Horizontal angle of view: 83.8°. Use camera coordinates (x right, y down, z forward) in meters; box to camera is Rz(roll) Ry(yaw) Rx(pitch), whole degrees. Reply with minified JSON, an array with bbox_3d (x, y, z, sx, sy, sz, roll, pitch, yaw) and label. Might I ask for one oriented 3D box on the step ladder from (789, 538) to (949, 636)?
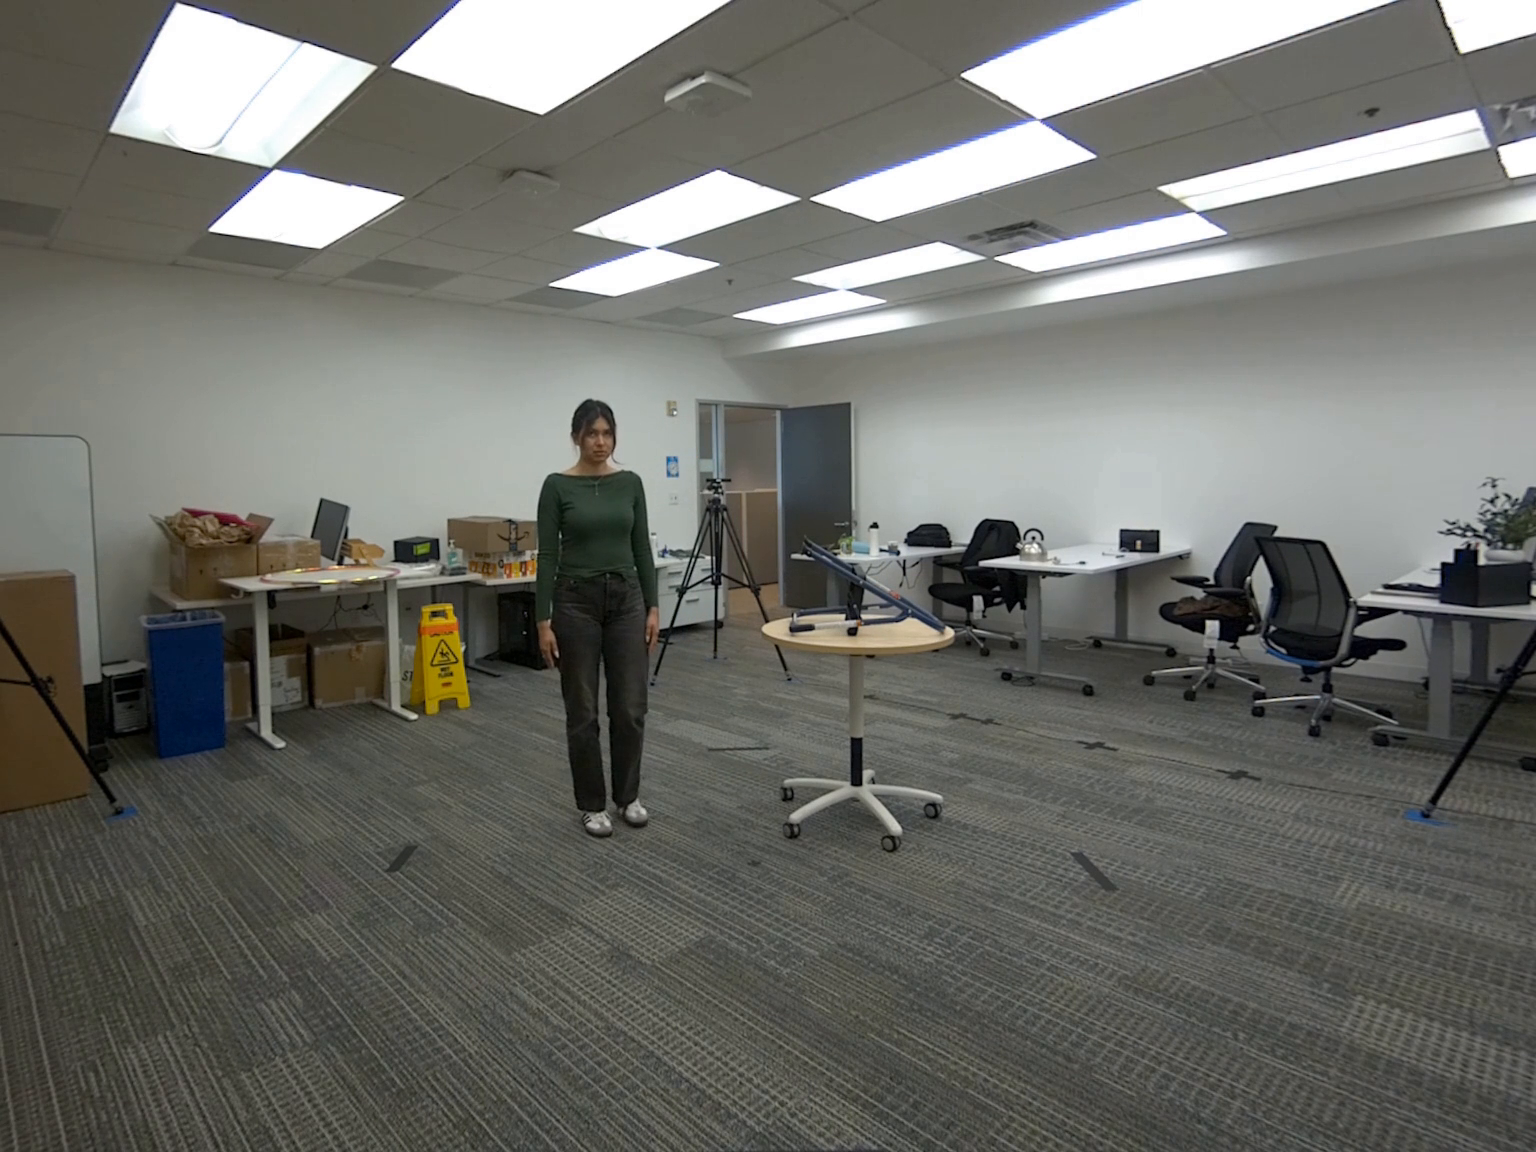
[{"bbox_3d":[0.415,0.083,3.452,0.610,0.348,0.430,11,6,4],"label":"step ladder"}]
